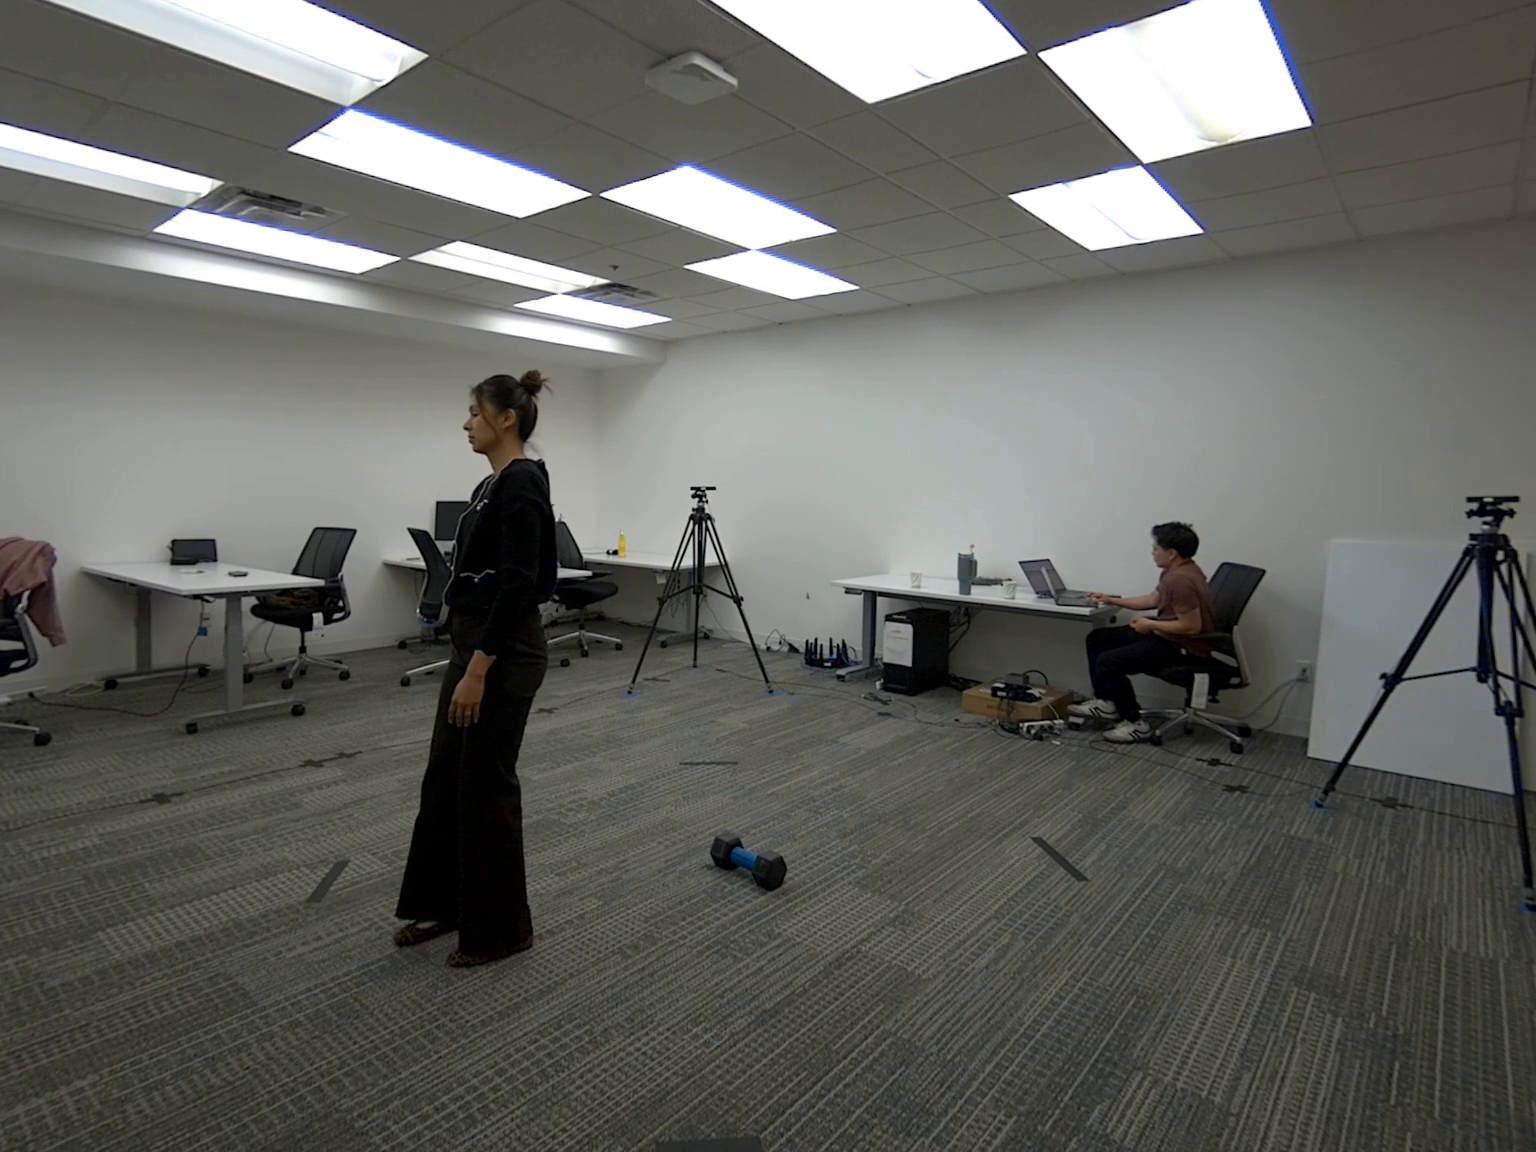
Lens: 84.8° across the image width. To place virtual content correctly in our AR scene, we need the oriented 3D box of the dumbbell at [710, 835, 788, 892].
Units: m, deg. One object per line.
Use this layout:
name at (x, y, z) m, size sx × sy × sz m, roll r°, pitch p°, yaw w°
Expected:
dumbbell at (-0.082, 1.018, 3.053) m, size 0.303 × 0.108 × 0.119 m, roll 5°, pitch 6°, yaw 43°
